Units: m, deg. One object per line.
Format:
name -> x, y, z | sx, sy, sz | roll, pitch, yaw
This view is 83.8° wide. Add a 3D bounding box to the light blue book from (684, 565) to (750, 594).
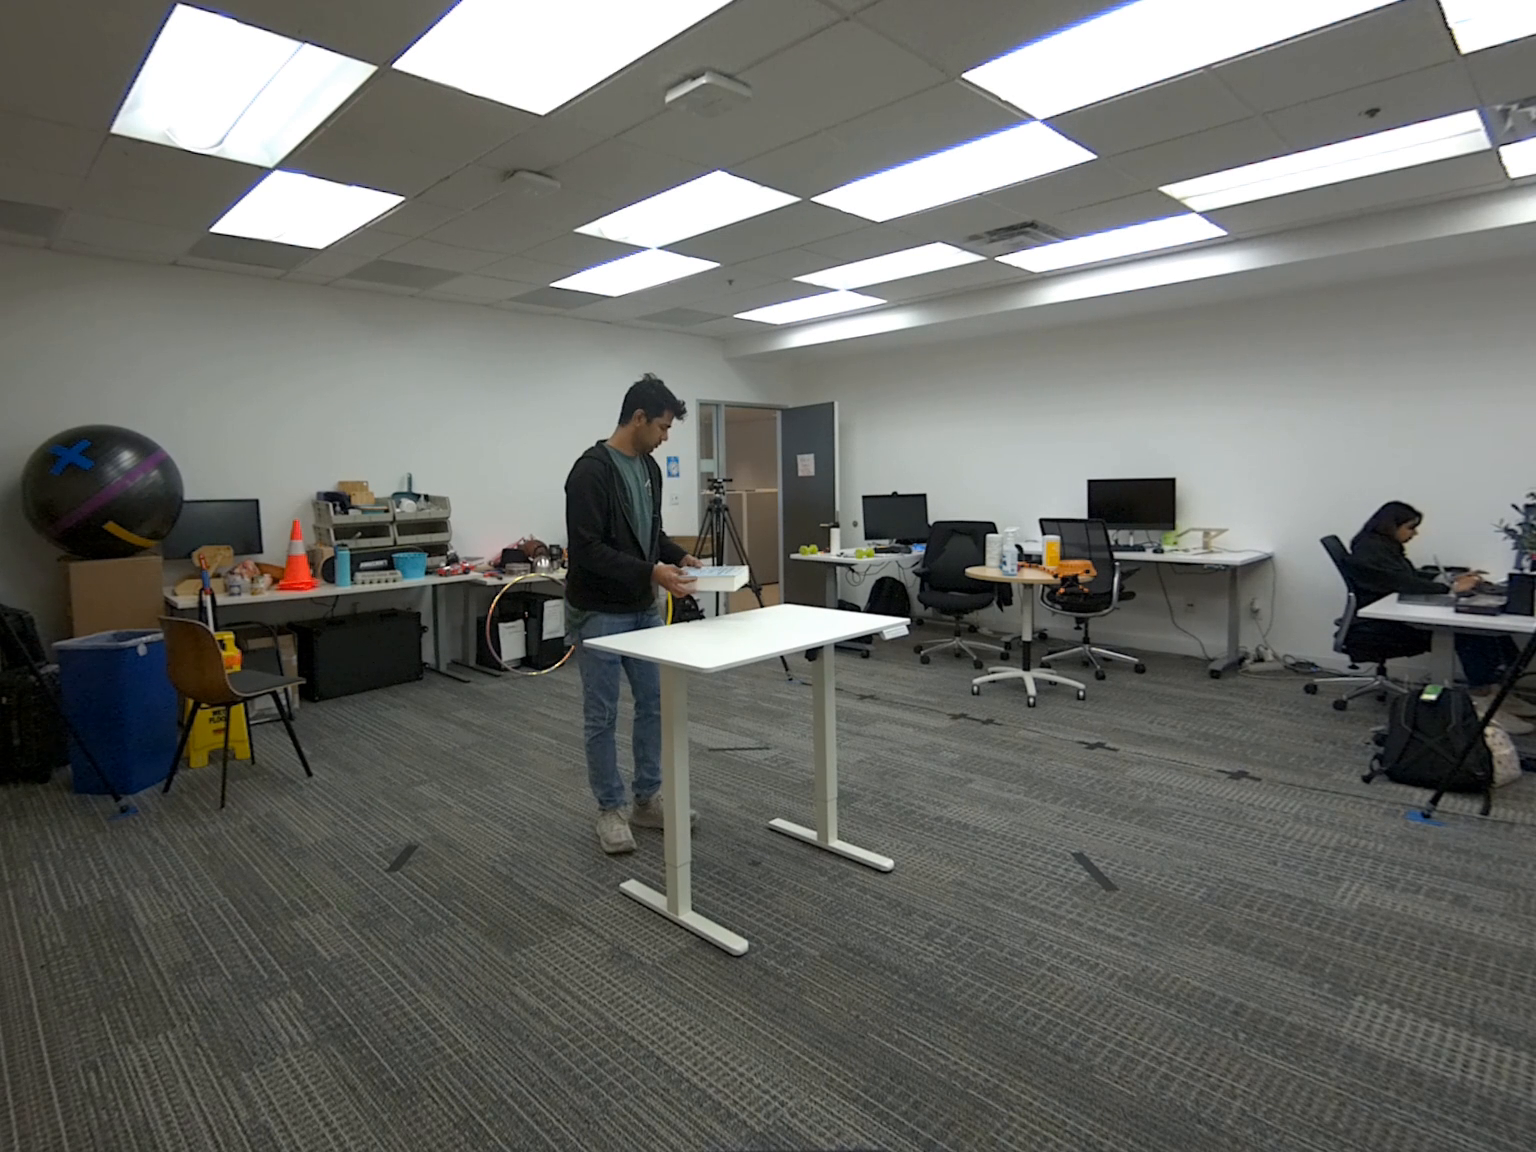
light blue book -> -0.221, 0.017, 3.182 | 0.264, 0.058, 0.191 | -2, 10, 10
